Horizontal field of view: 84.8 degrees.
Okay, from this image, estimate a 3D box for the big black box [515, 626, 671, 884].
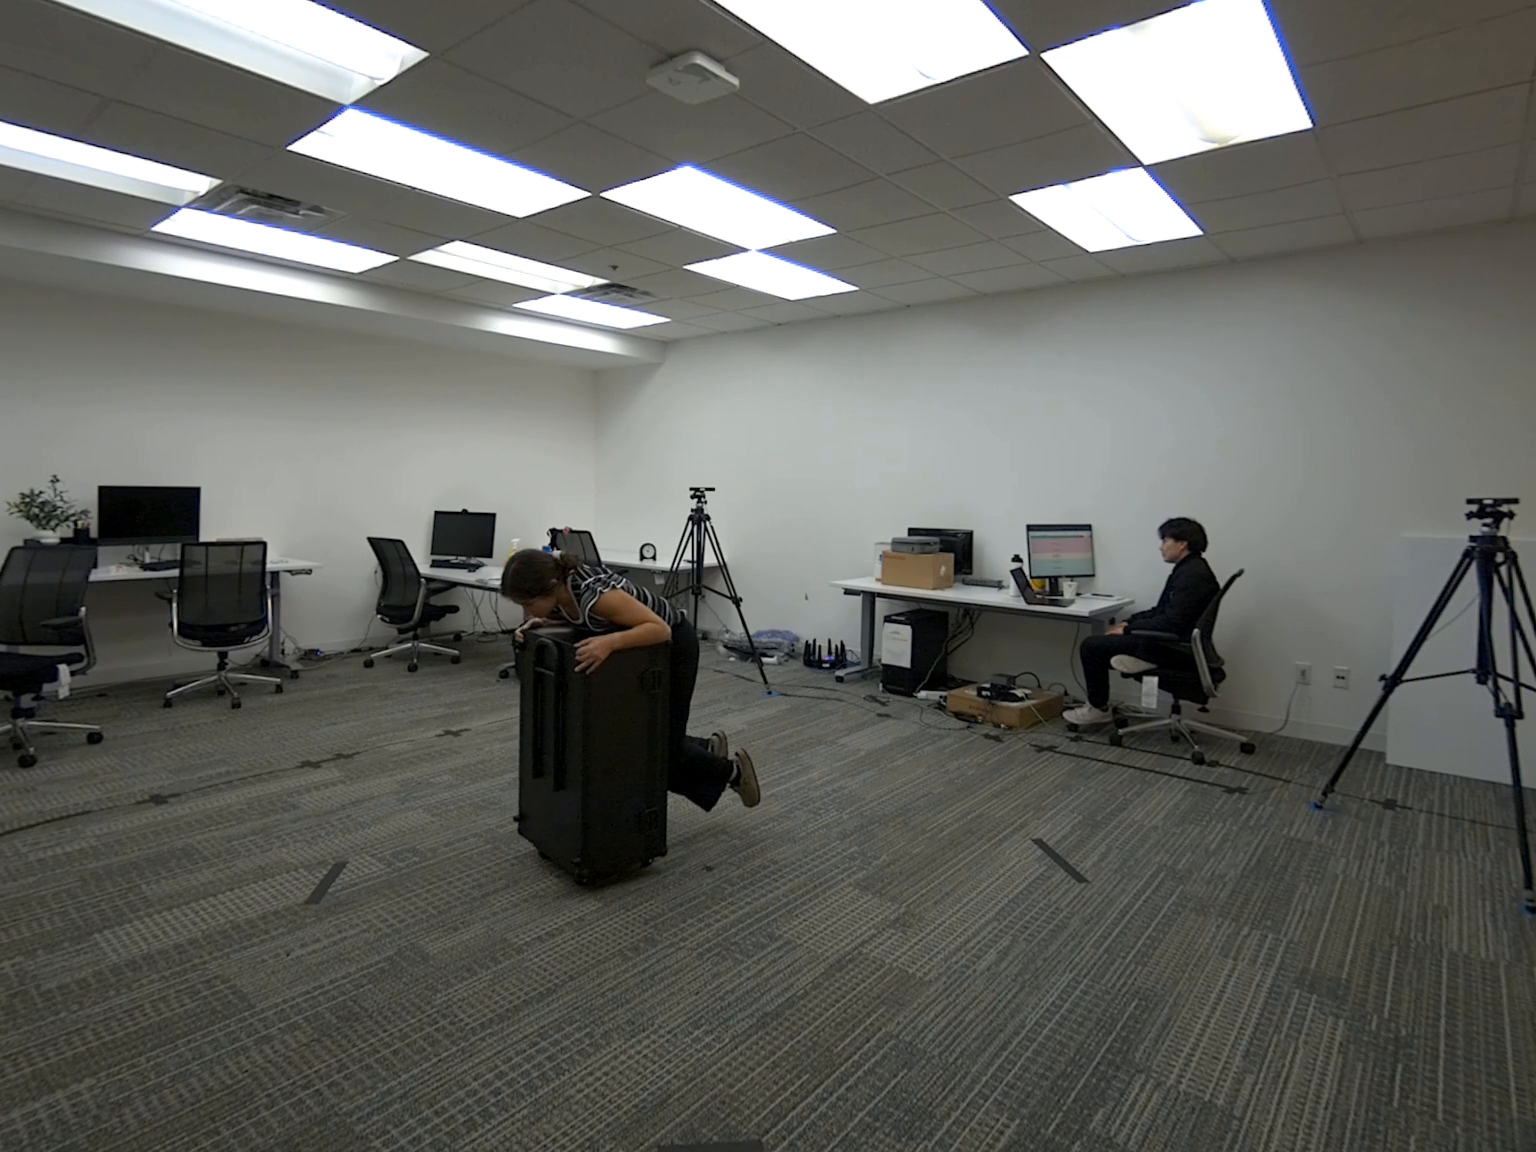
[{"bbox_3d":[-0.661,0.647,3.108,0.384,0.859,0.539,-2,5,-40],"label":"big black box"}]
